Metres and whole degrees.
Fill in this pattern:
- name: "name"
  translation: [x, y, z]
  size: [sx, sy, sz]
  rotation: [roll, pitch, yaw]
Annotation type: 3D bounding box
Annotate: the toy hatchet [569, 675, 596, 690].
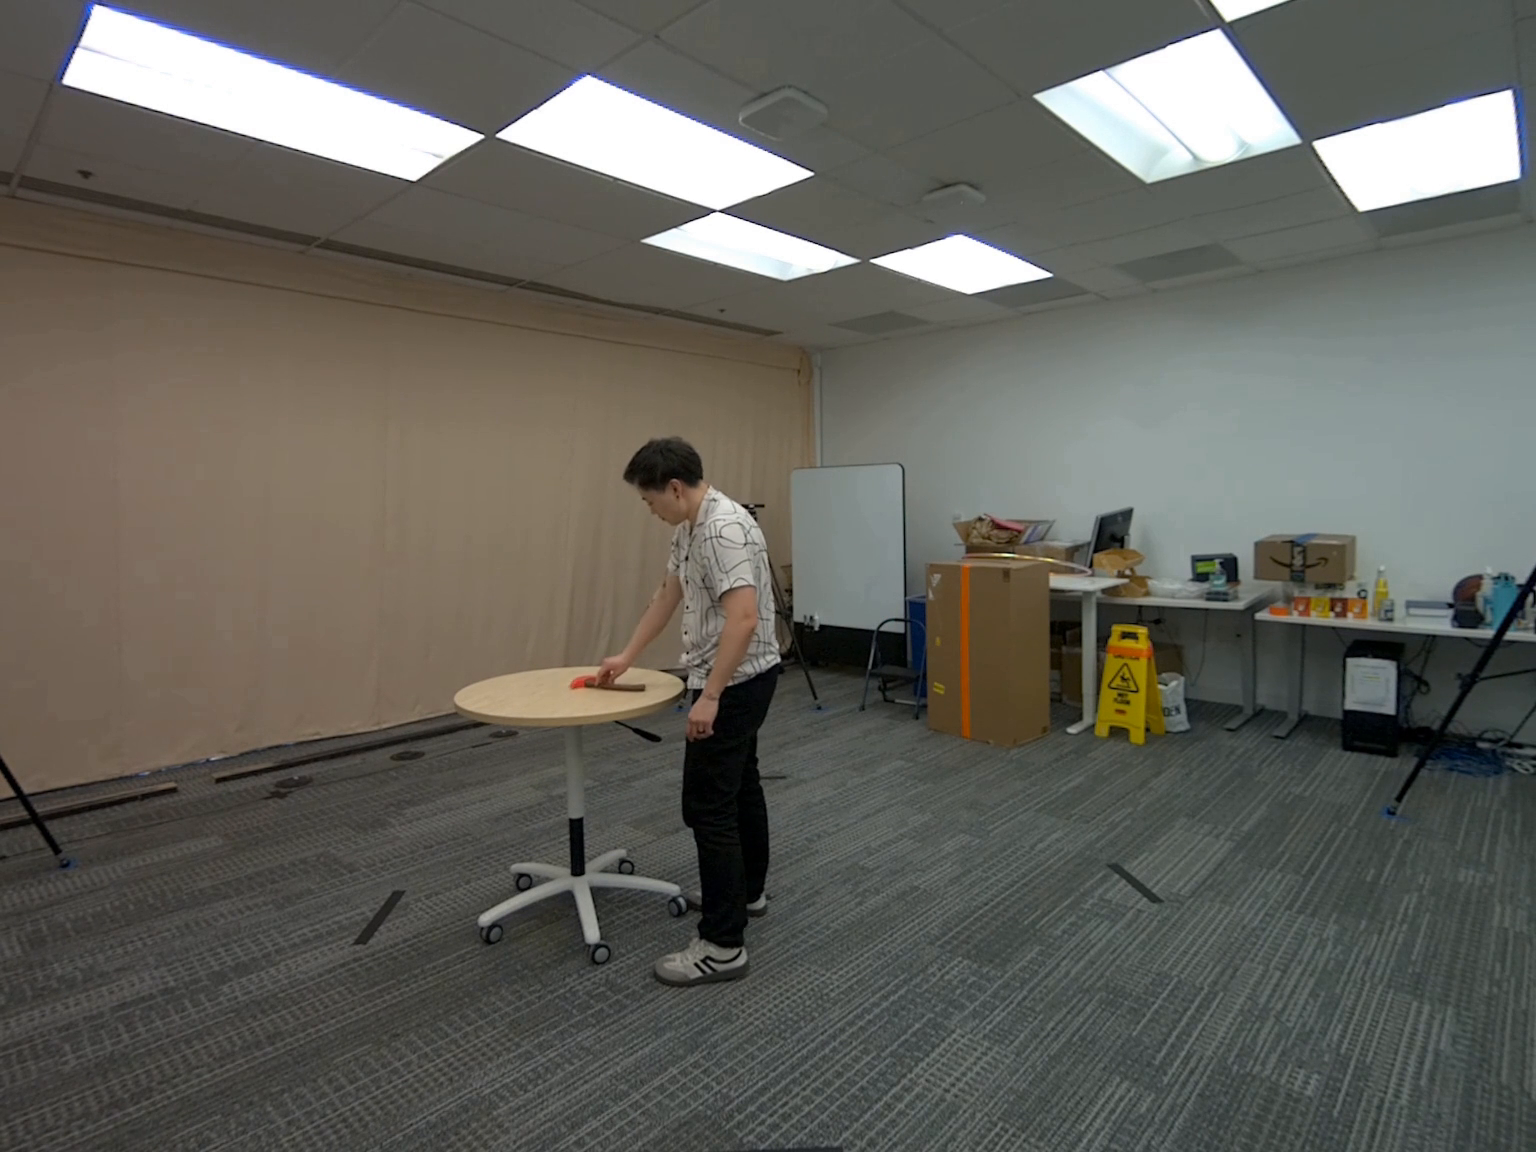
- name: "toy hatchet"
  translation: [-0.537, 0.370, 2.867]
  size: [0.272, 0.029, 0.131]
  rotation: [0, 9, 7]
